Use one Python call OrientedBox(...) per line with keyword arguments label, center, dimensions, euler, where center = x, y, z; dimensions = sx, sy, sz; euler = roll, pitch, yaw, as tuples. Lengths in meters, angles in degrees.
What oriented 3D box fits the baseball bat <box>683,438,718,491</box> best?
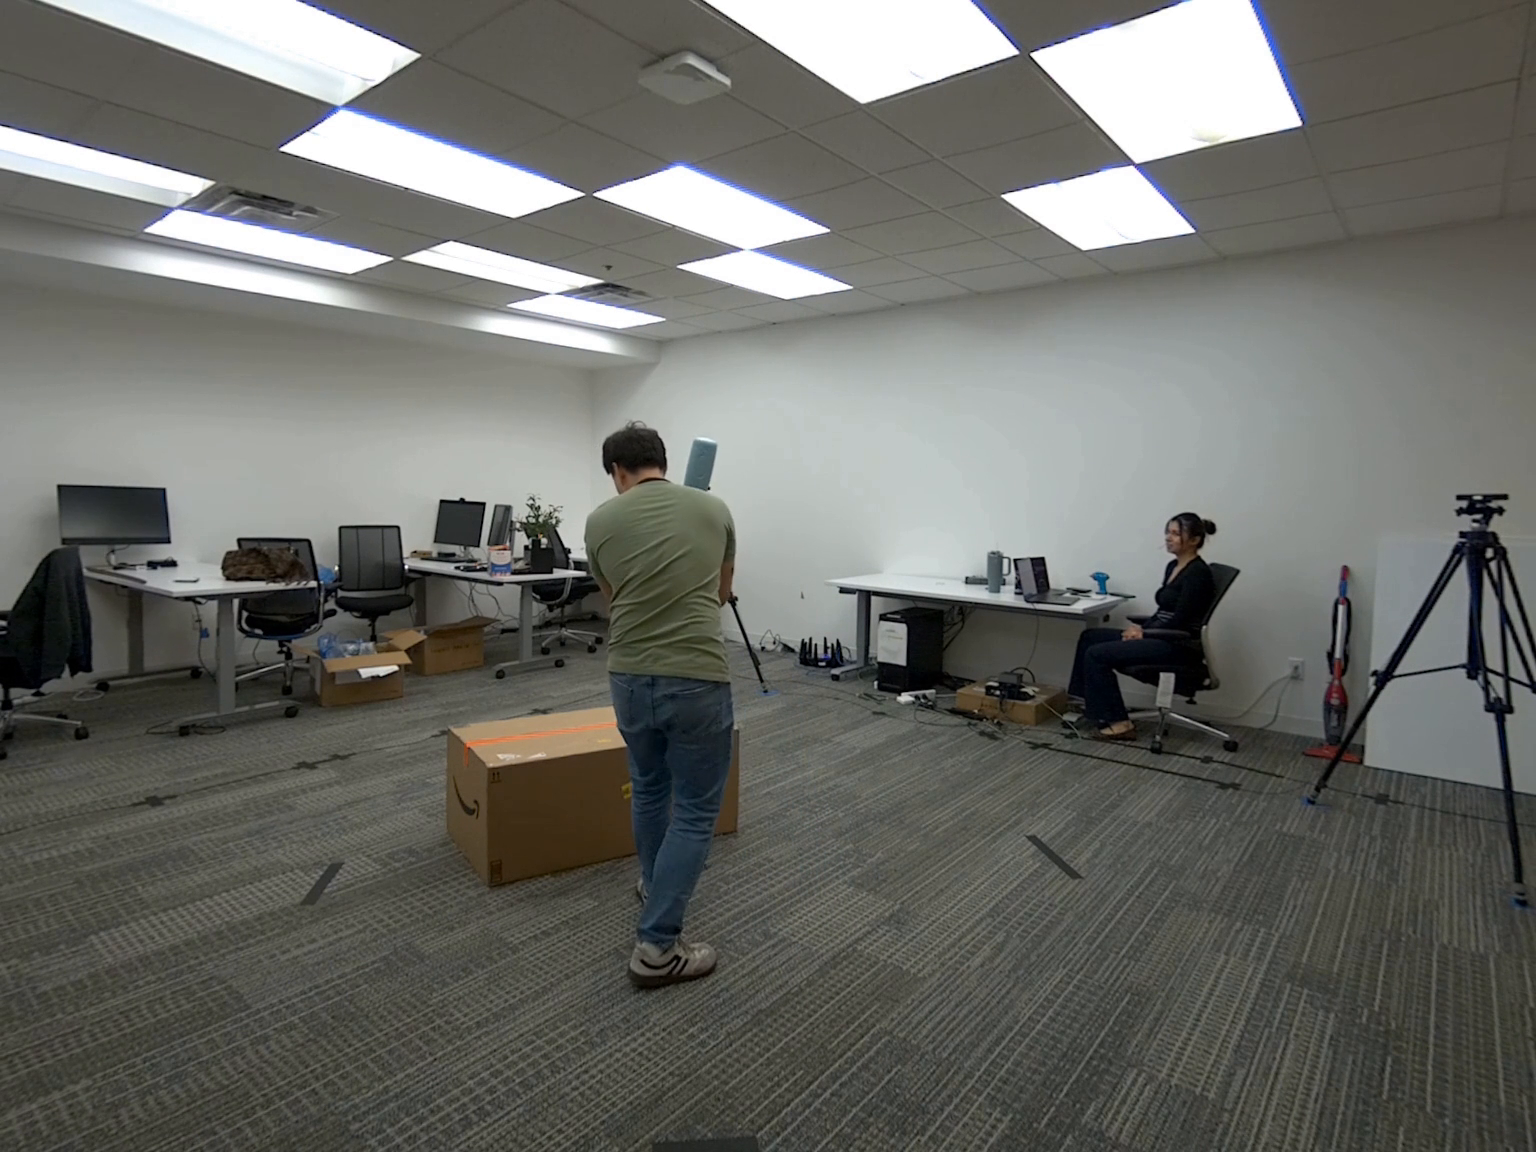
OrientedBox(label="baseball bat", center=(-0.273, -0.202, 2.939), dimensions=(0.089, 0.538, 0.090), euler=(11, 11, -4))
